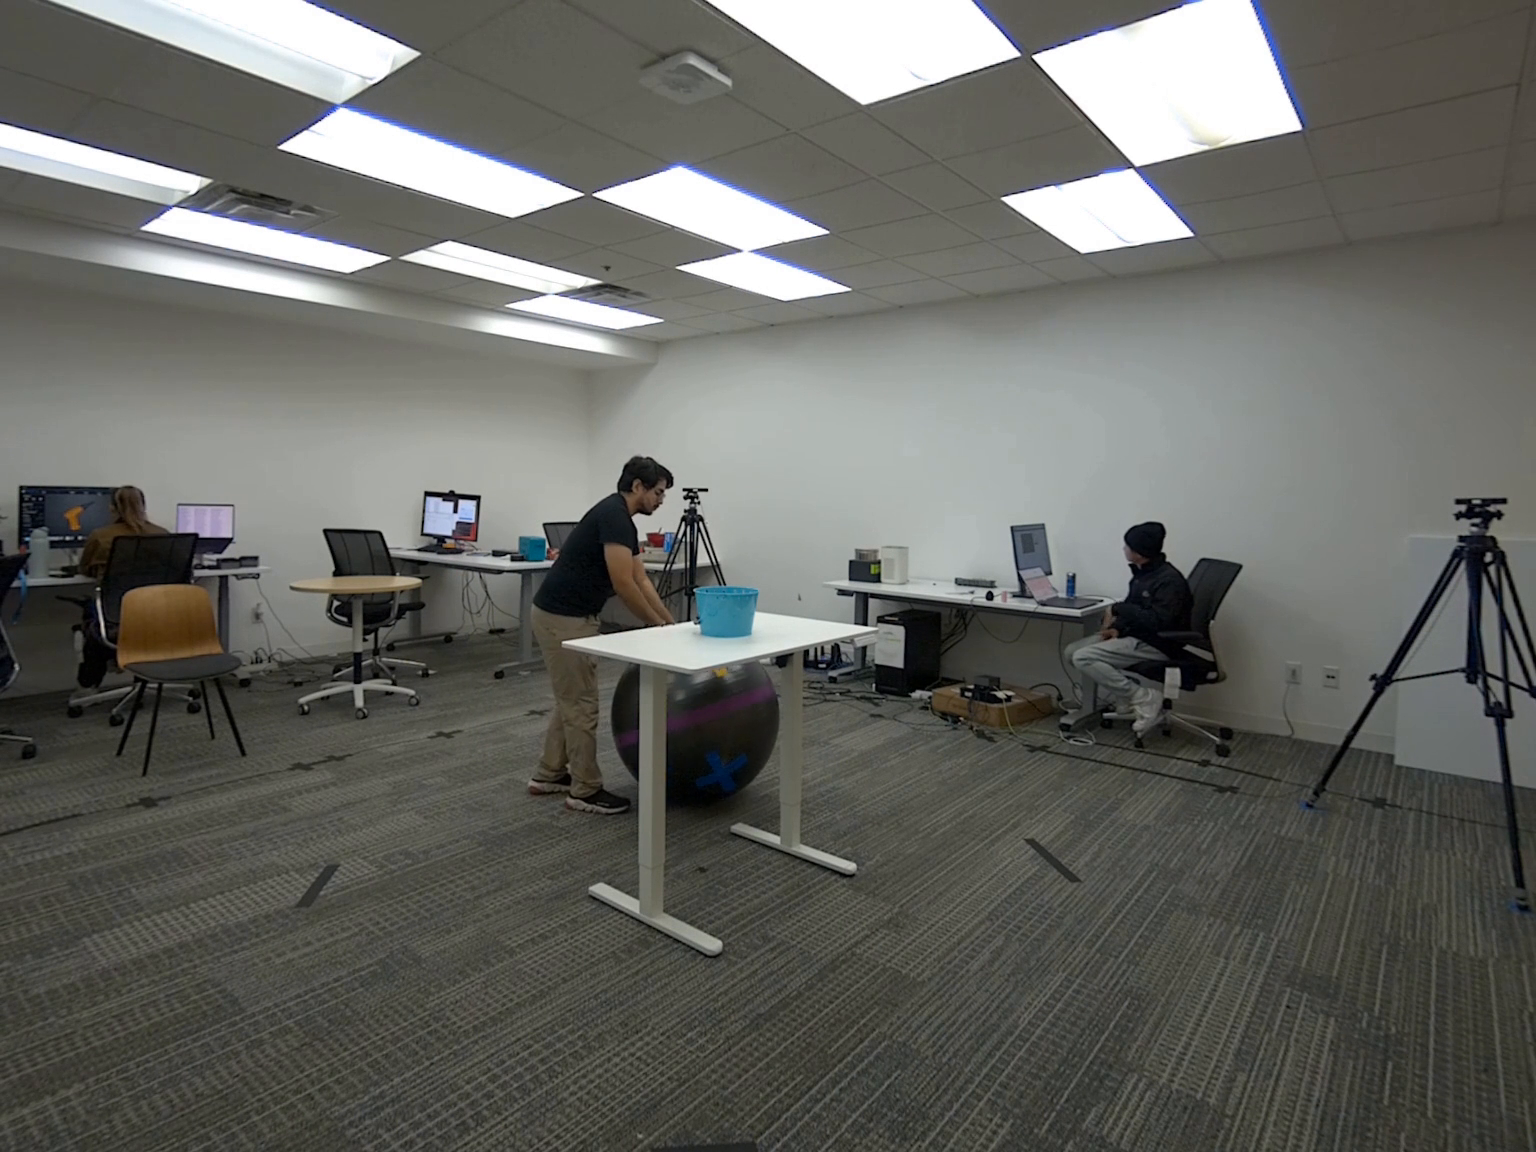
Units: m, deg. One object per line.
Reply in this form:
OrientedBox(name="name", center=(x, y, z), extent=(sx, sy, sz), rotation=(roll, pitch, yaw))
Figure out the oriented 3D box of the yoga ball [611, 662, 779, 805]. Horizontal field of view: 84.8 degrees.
OrientedBox(name="yoga ball", center=(-0.342, 0.637, 3.835), extent=(0.757, 0.755, 0.762), rotation=(1, 4, -2))
